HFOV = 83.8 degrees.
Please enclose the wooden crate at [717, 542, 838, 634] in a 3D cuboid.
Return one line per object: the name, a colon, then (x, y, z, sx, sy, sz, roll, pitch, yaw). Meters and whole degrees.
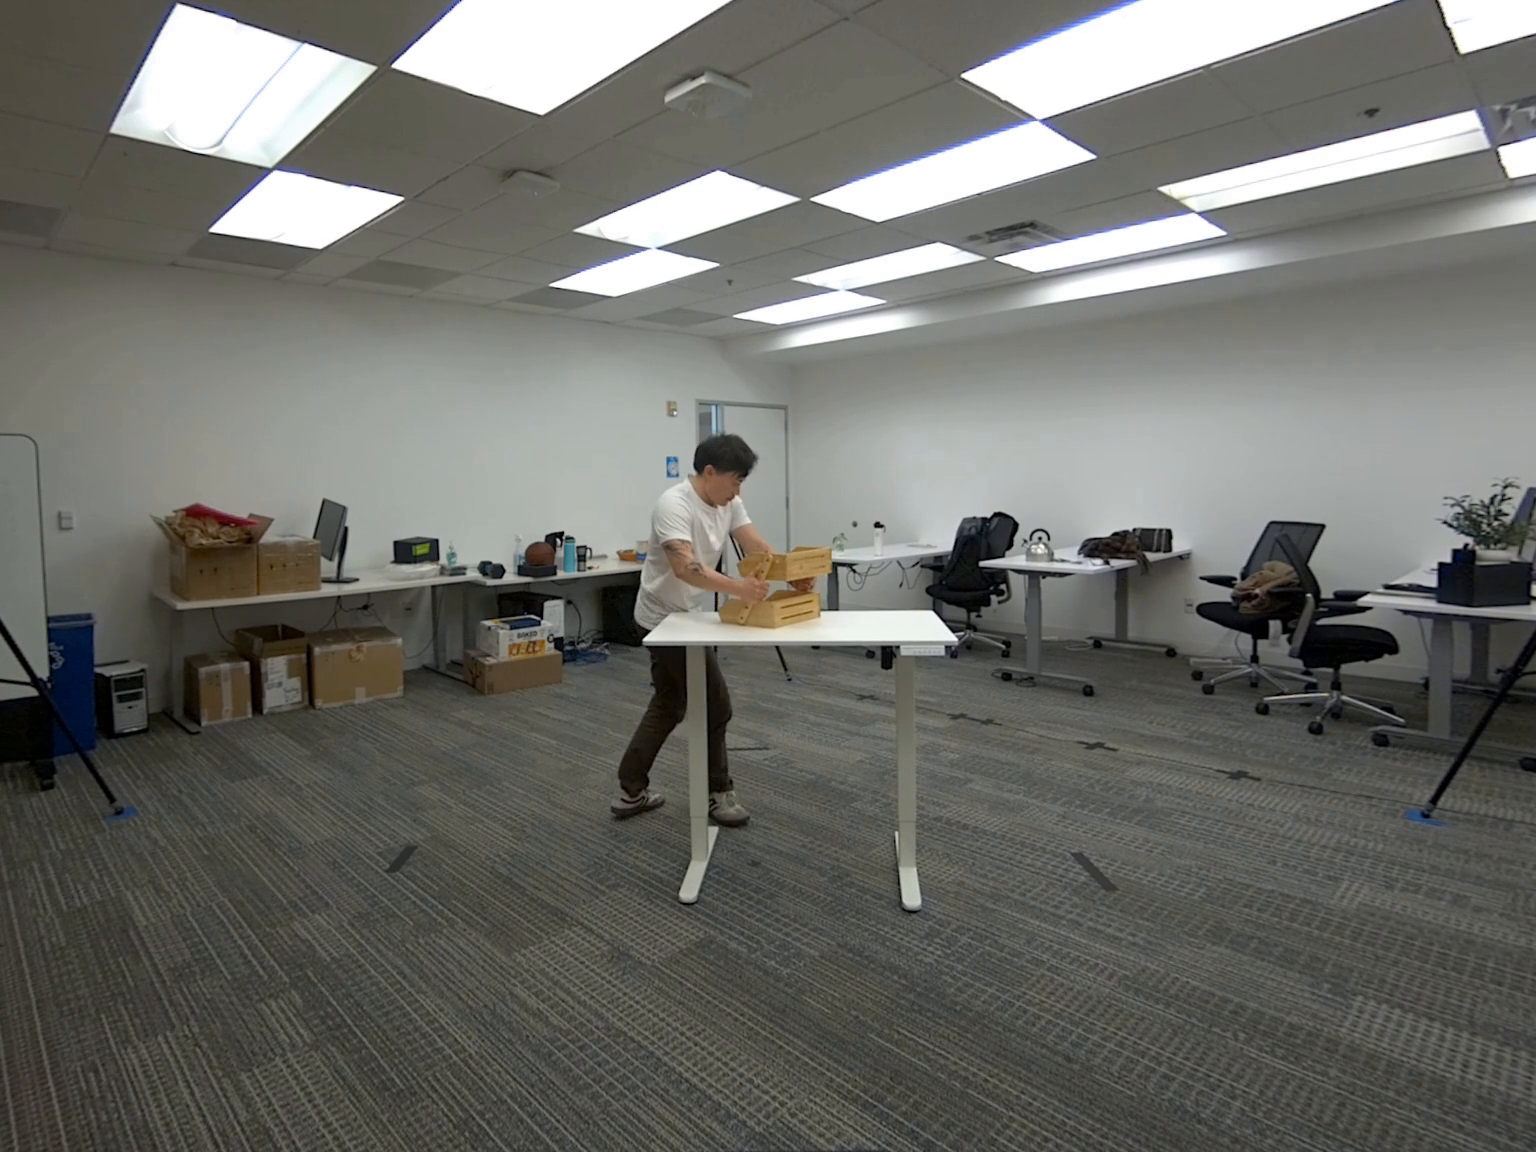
wooden crate: (0.036, 0.031, 3.105, 0.311, 0.272, 0.316, 3, 7, 37)
